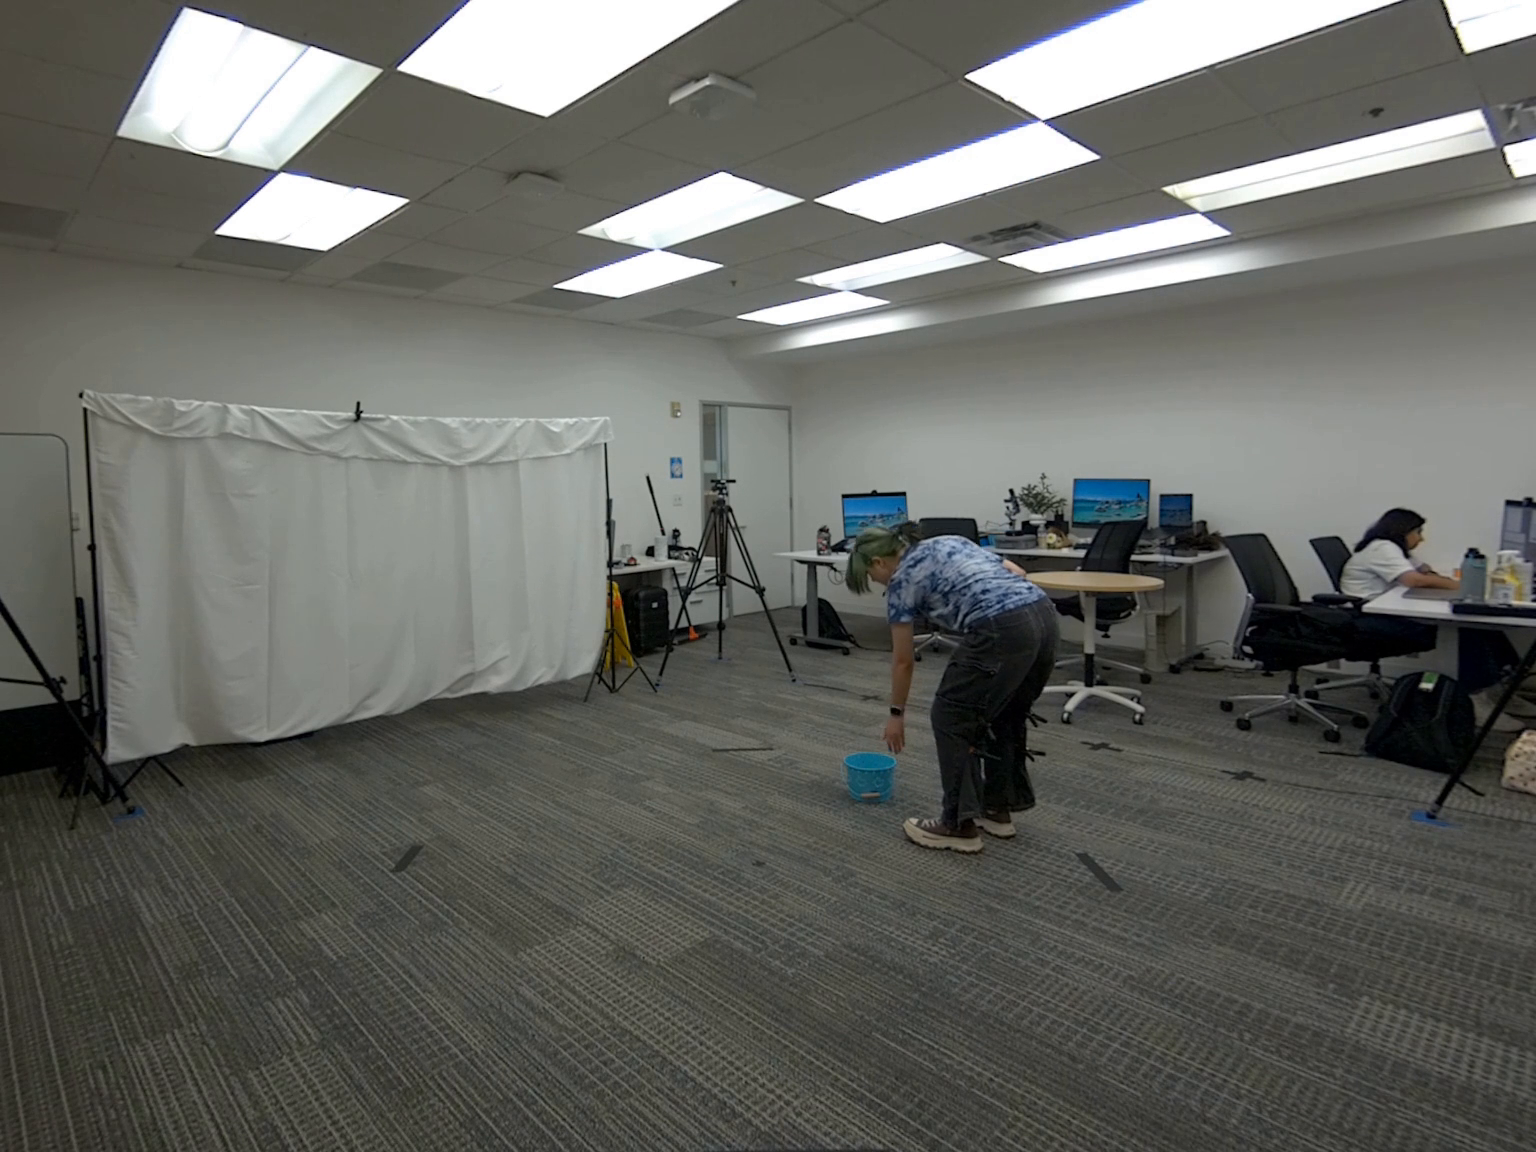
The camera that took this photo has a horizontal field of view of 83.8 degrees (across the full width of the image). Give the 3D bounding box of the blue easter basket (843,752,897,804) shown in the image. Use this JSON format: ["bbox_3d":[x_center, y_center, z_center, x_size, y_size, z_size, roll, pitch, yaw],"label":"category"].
[{"bbox_3d":[0.448,0.886,3.763,0.243,0.155,0.245,-2,5,-2],"label":"blue easter basket"}]
